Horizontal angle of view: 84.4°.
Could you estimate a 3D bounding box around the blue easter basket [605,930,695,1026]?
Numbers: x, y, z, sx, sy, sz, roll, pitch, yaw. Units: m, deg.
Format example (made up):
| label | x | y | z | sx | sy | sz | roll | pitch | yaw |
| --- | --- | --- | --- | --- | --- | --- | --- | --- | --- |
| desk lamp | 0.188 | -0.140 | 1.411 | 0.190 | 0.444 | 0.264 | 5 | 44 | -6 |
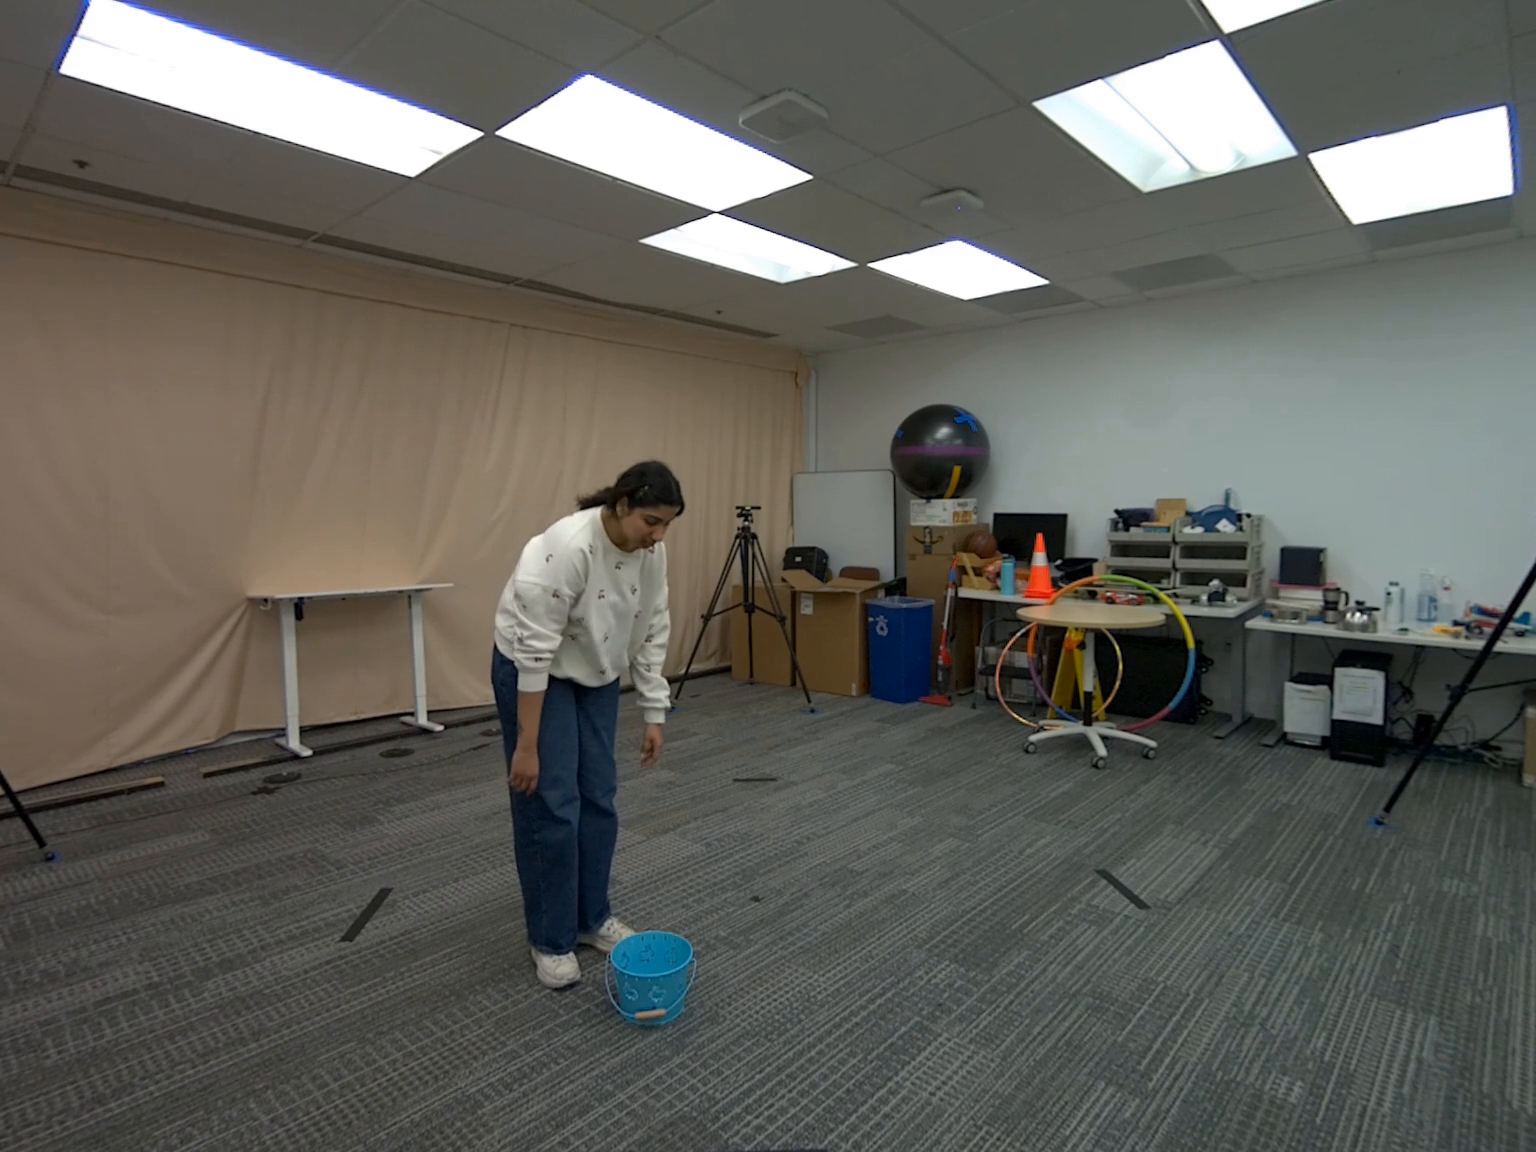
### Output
| label | x | y | z | sx | sy | sz | roll | pitch | yaw |
| --- | --- | --- | --- | --- | --- | --- | --- | --- | --- |
| blue easter basket | -0.326 | 1.121 | 2.342 | 0.243 | 0.155 | 0.244 | 0 | 3 | -2 |
